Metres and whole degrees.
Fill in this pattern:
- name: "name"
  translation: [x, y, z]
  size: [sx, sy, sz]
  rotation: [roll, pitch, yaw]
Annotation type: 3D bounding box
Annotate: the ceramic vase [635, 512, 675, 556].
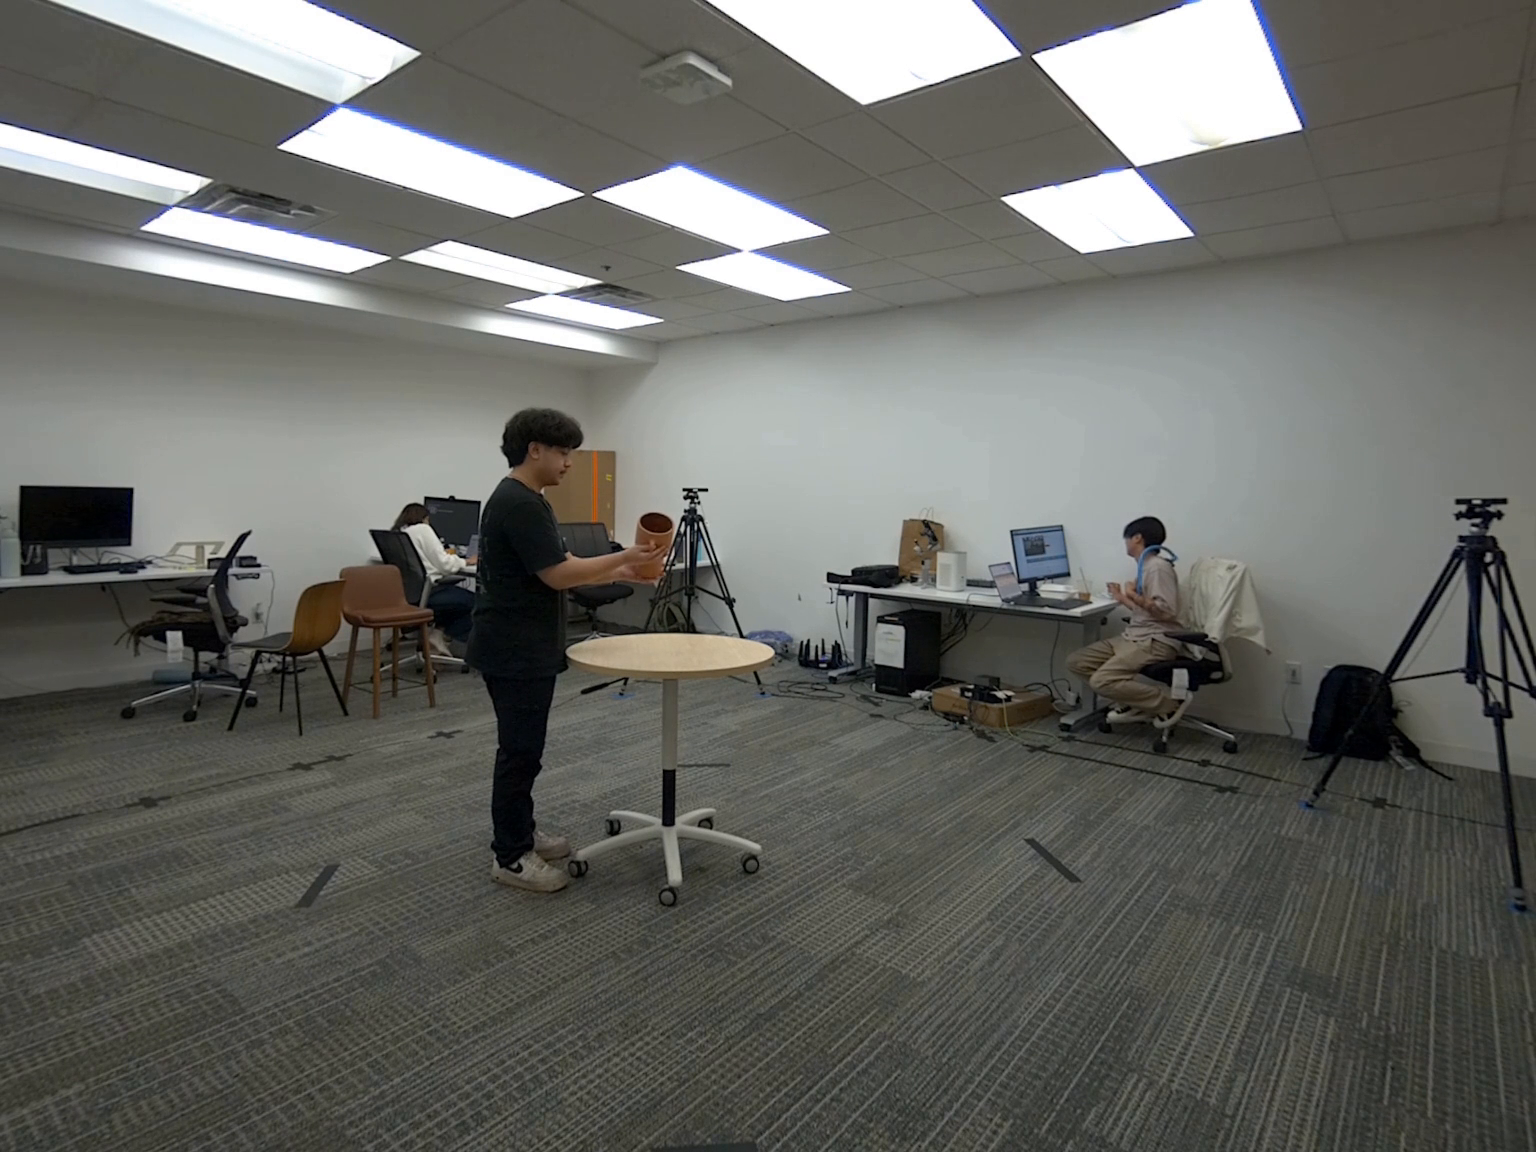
- name: "ceramic vase"
  translation: [-0.437, -0.109, 3.080]
  size: [0.139, 0.215, 0.157]
  rotation: [35, 43, 25]
